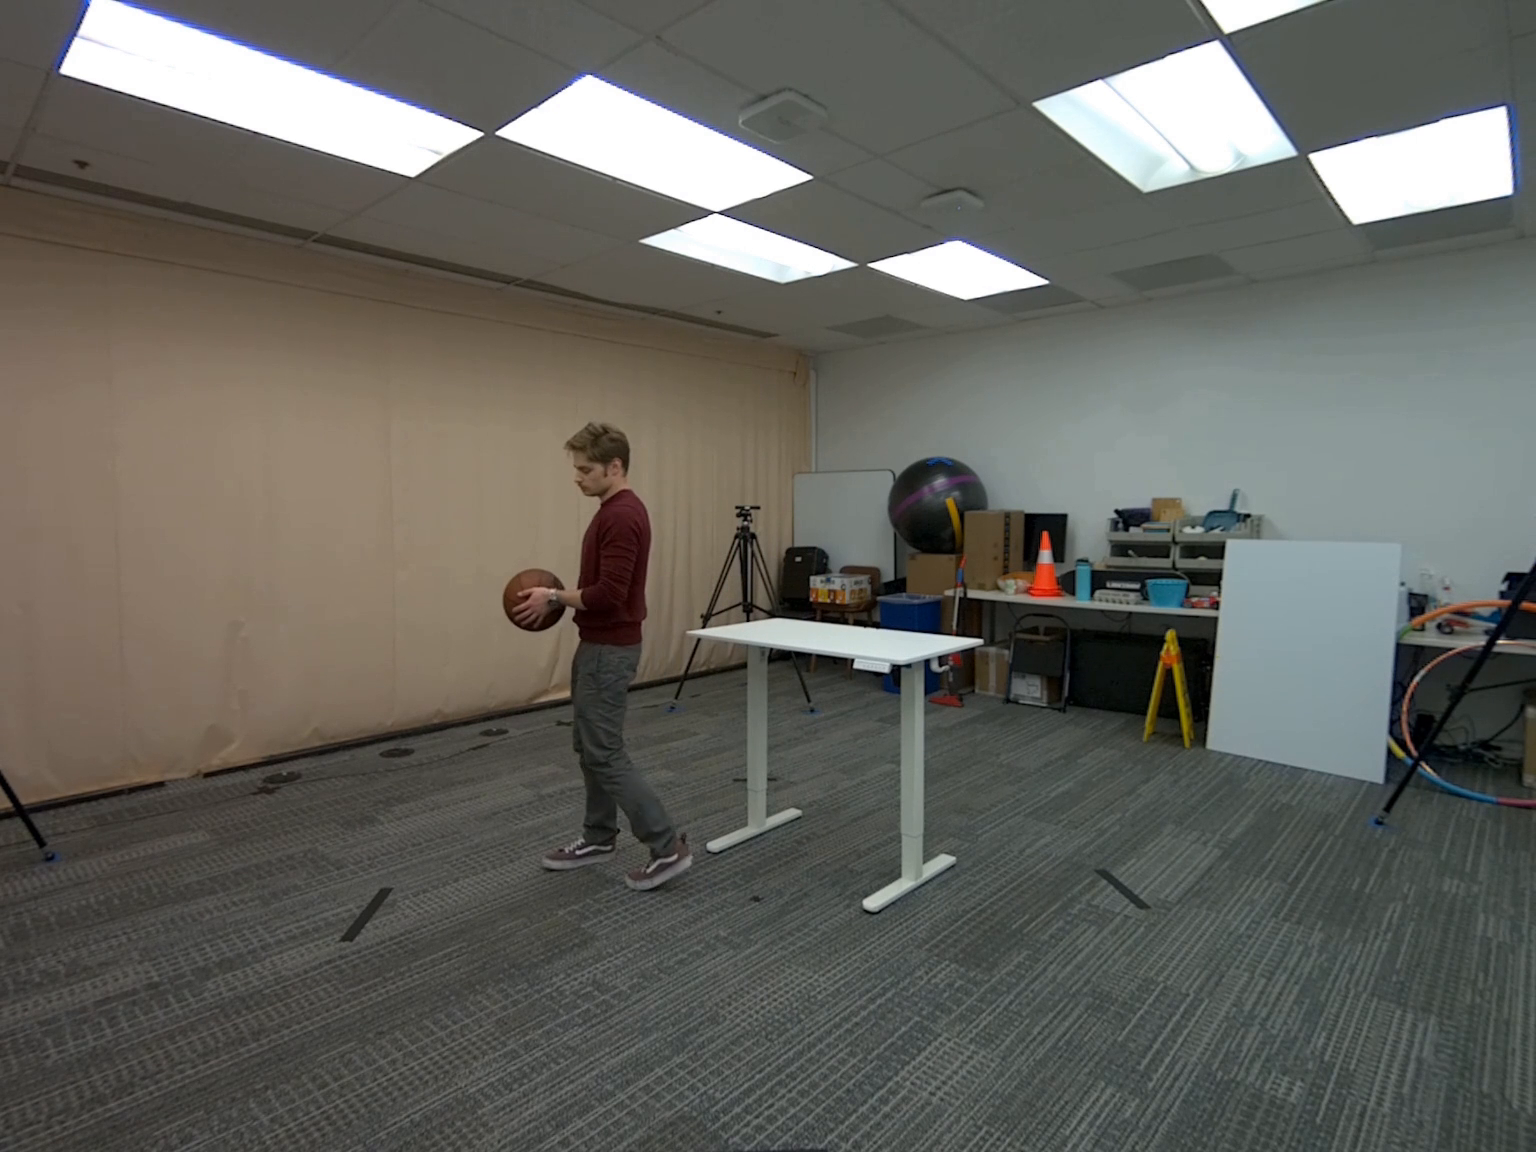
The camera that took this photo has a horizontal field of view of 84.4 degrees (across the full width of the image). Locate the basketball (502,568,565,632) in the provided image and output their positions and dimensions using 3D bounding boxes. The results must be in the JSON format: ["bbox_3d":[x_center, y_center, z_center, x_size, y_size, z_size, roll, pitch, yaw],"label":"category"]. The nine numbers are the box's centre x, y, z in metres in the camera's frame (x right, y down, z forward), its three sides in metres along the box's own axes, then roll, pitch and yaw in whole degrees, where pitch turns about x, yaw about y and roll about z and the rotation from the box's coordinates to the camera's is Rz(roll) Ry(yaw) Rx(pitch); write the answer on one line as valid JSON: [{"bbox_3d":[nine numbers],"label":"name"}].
[{"bbox_3d":[-0.871,0.094,3.181,0.236,0.235,0.237,0,4,-2],"label":"basketball"}]
